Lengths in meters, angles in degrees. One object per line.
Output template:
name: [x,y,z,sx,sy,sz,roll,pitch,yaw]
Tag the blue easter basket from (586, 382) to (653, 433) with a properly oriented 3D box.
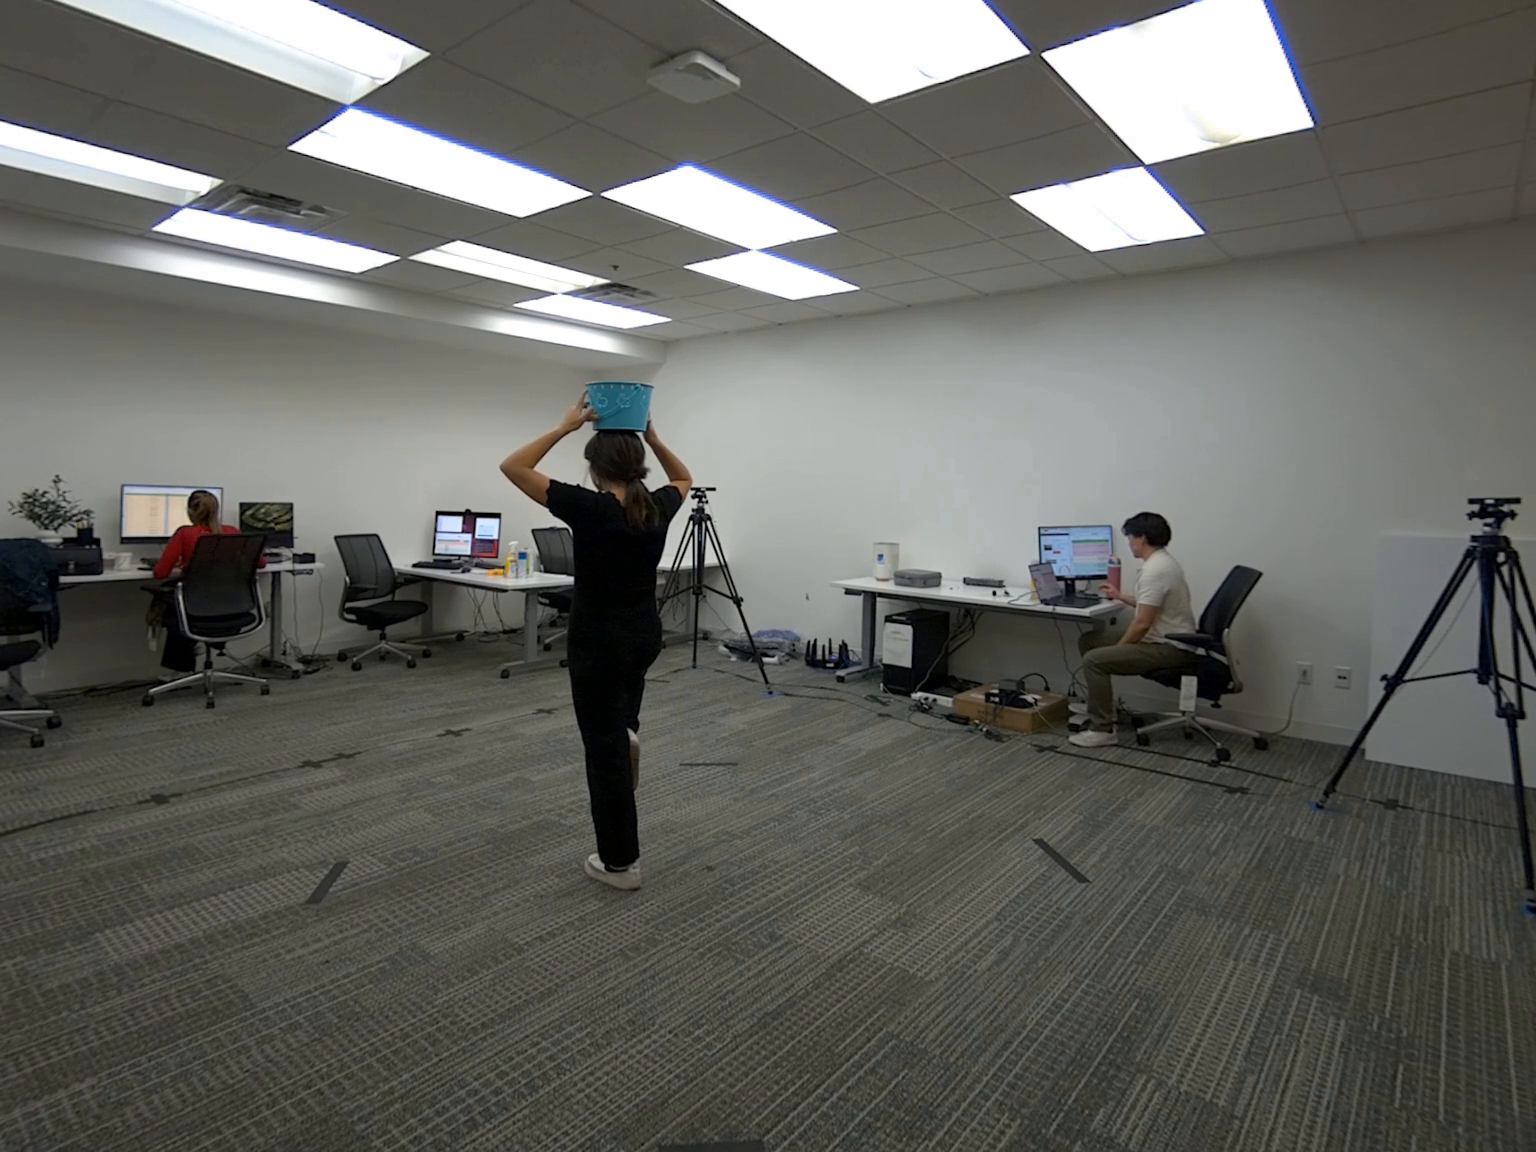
blue easter basket: [-0.518,-0.574,2.884,0.243,0.155,0.245,2,5,-2]
